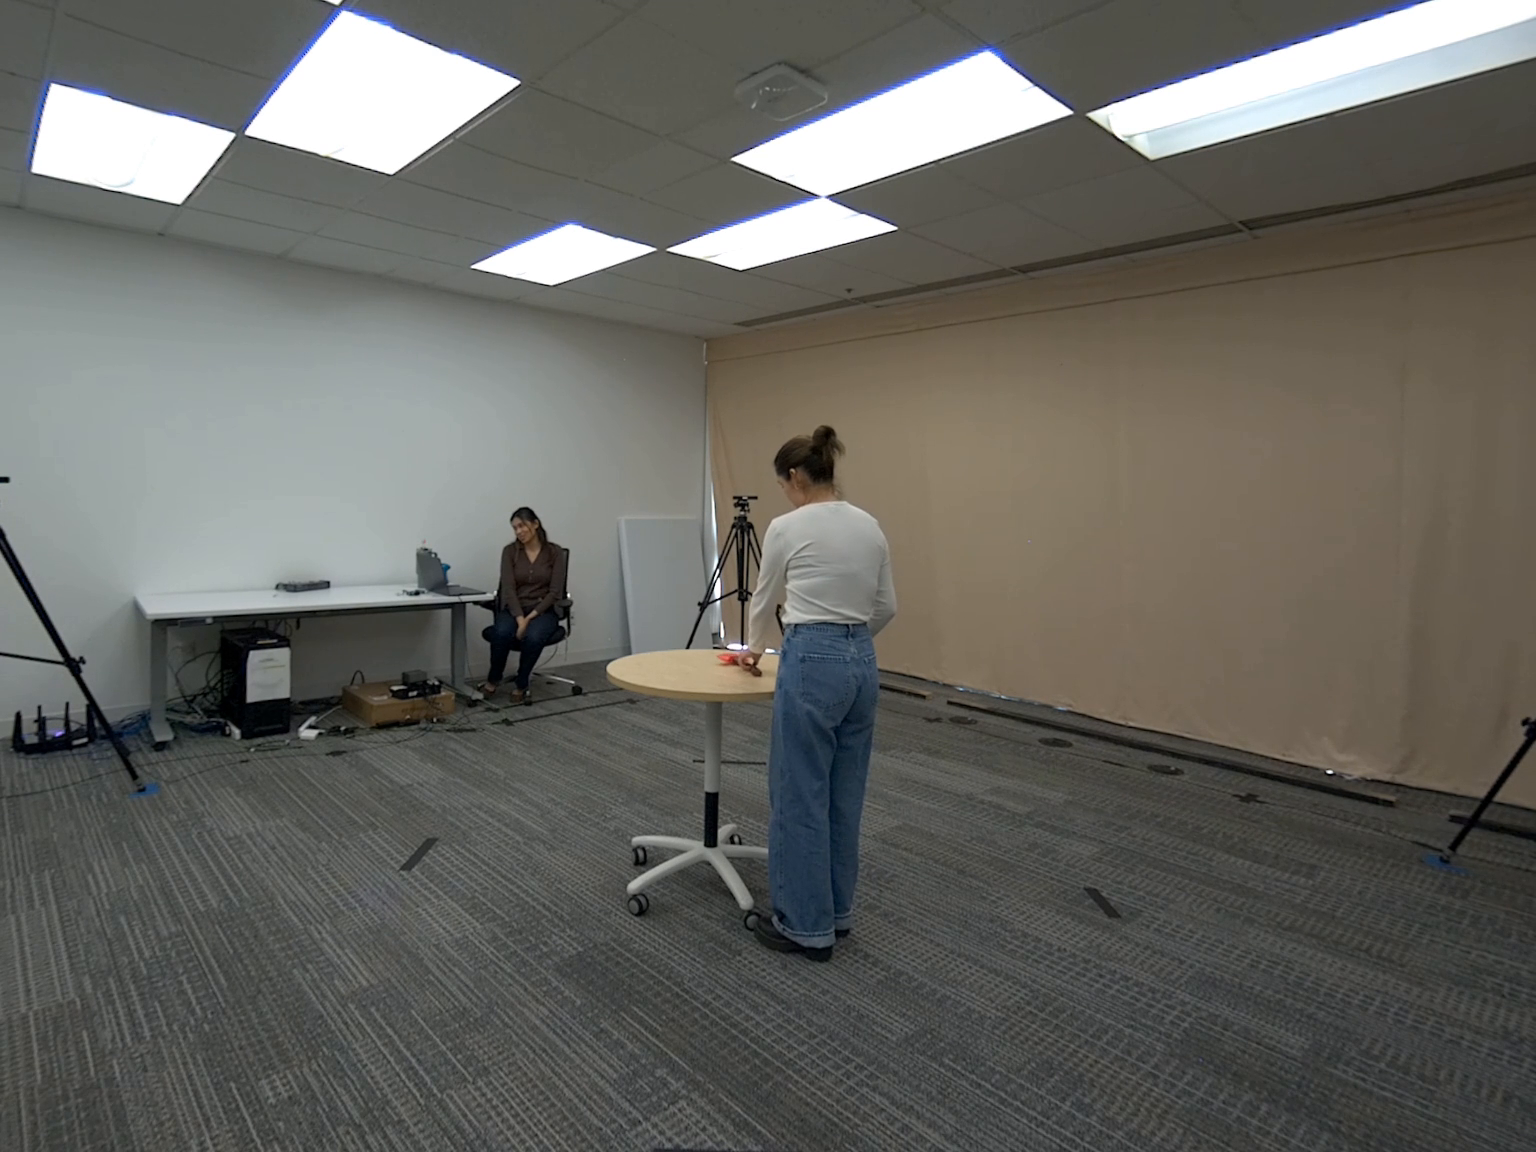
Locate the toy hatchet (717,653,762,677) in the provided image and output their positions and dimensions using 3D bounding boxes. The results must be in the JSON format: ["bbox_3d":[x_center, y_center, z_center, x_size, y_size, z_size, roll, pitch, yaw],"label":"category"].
[{"bbox_3d":[-0.113,0.317,2.981,0.130,0.029,0.273,12,2,-11],"label":"toy hatchet"}]
